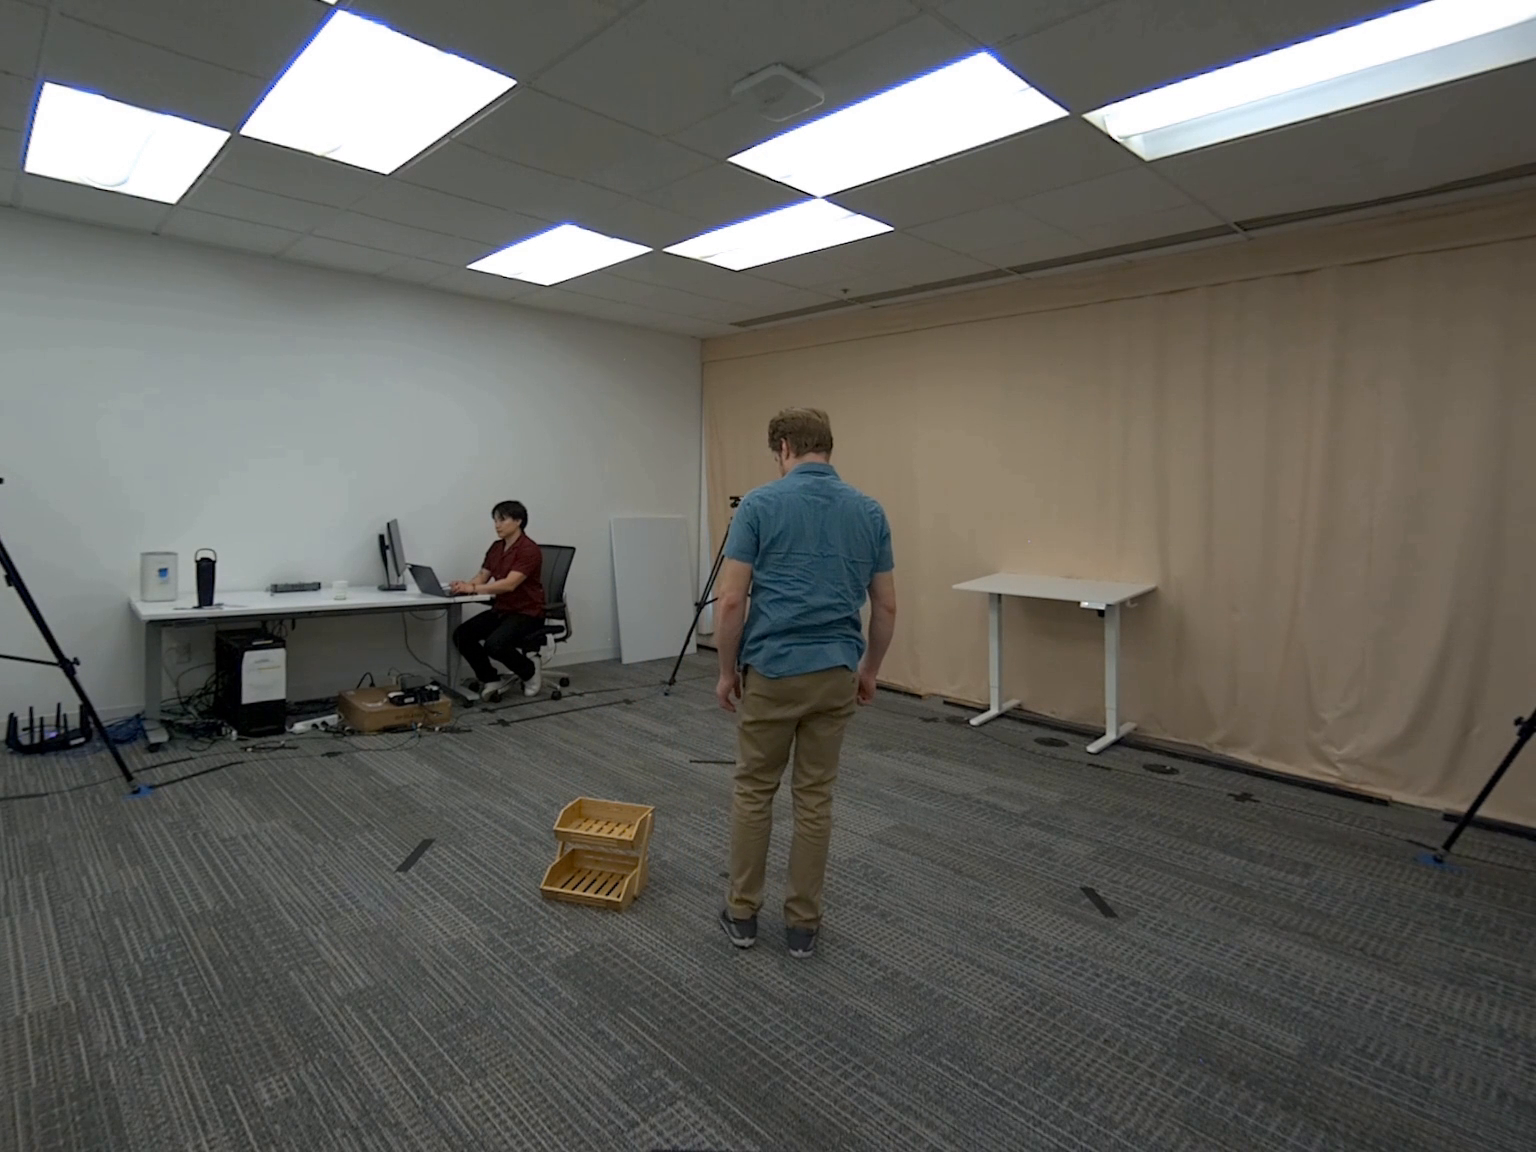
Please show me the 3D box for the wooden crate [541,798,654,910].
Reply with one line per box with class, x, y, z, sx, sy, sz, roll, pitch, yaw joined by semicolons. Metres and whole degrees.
wooden crate;-0.605;0.976;2.962;0.328;0.272;0.299;3;4;14
